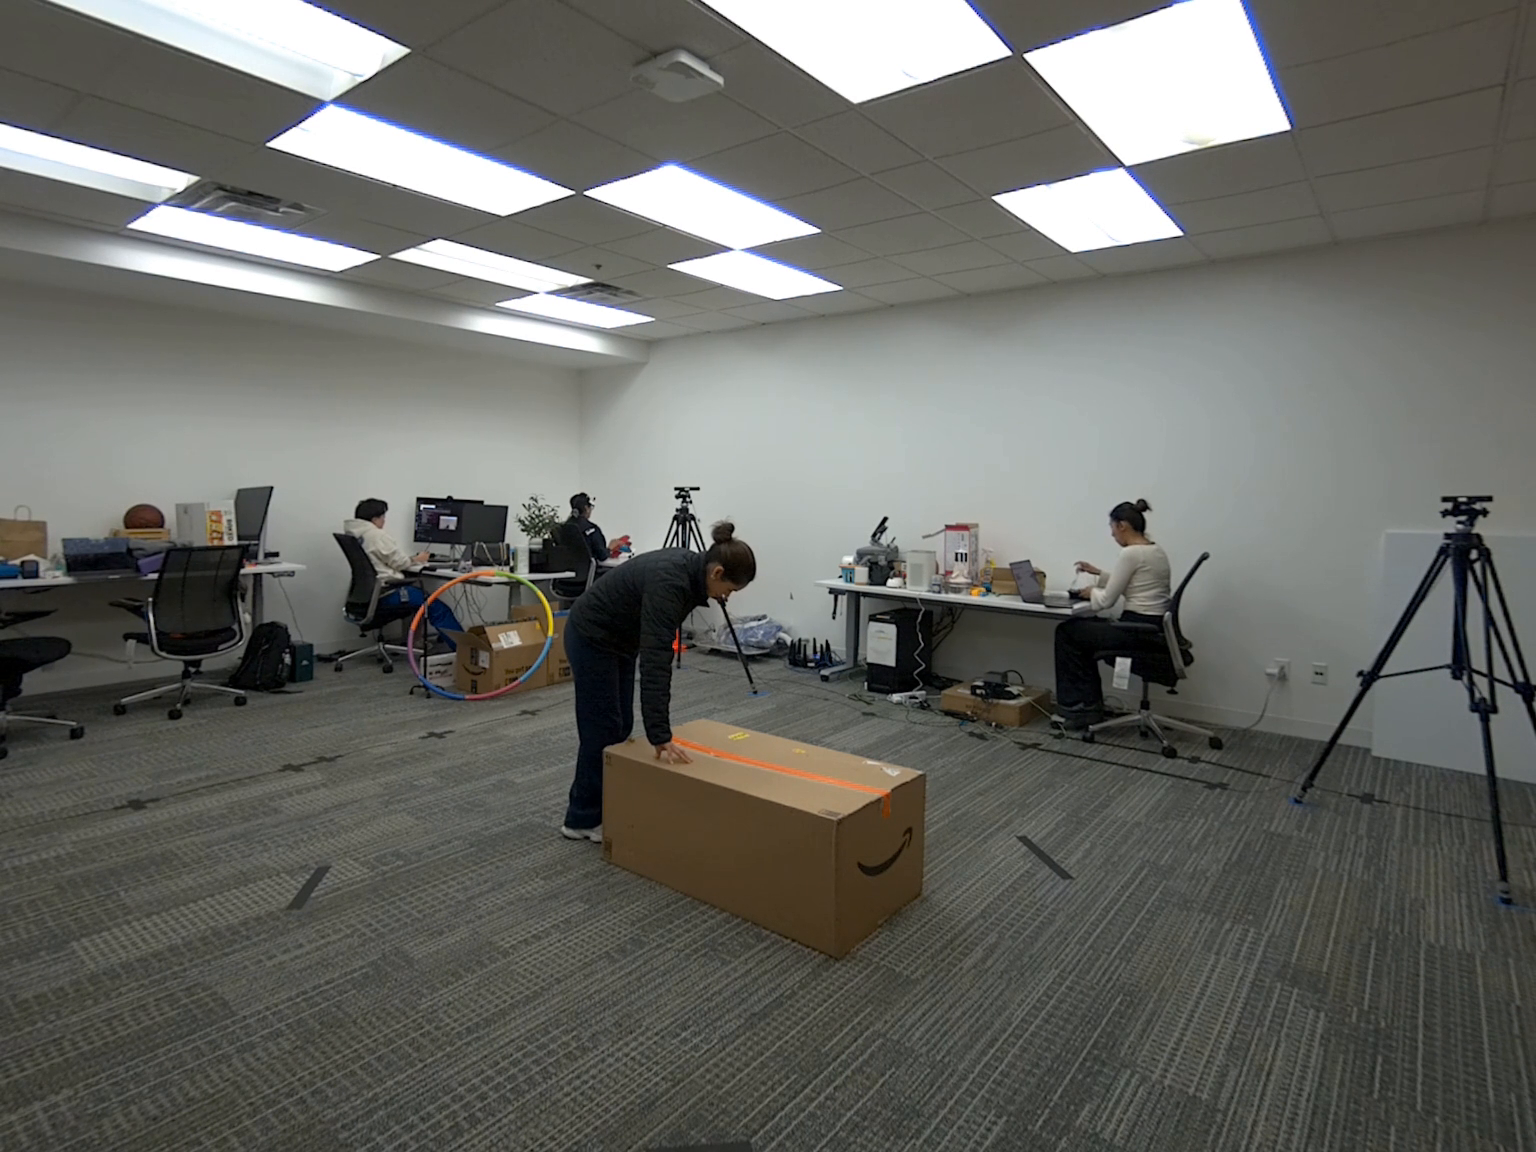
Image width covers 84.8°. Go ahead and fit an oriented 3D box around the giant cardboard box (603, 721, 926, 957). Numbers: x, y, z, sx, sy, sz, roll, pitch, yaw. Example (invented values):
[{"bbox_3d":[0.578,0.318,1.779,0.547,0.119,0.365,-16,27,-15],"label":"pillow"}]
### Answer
[{"bbox_3d":[-0.024,0.866,3.058,1.062,0.444,0.567,6,8,38],"label":"giant cardboard box"}]
